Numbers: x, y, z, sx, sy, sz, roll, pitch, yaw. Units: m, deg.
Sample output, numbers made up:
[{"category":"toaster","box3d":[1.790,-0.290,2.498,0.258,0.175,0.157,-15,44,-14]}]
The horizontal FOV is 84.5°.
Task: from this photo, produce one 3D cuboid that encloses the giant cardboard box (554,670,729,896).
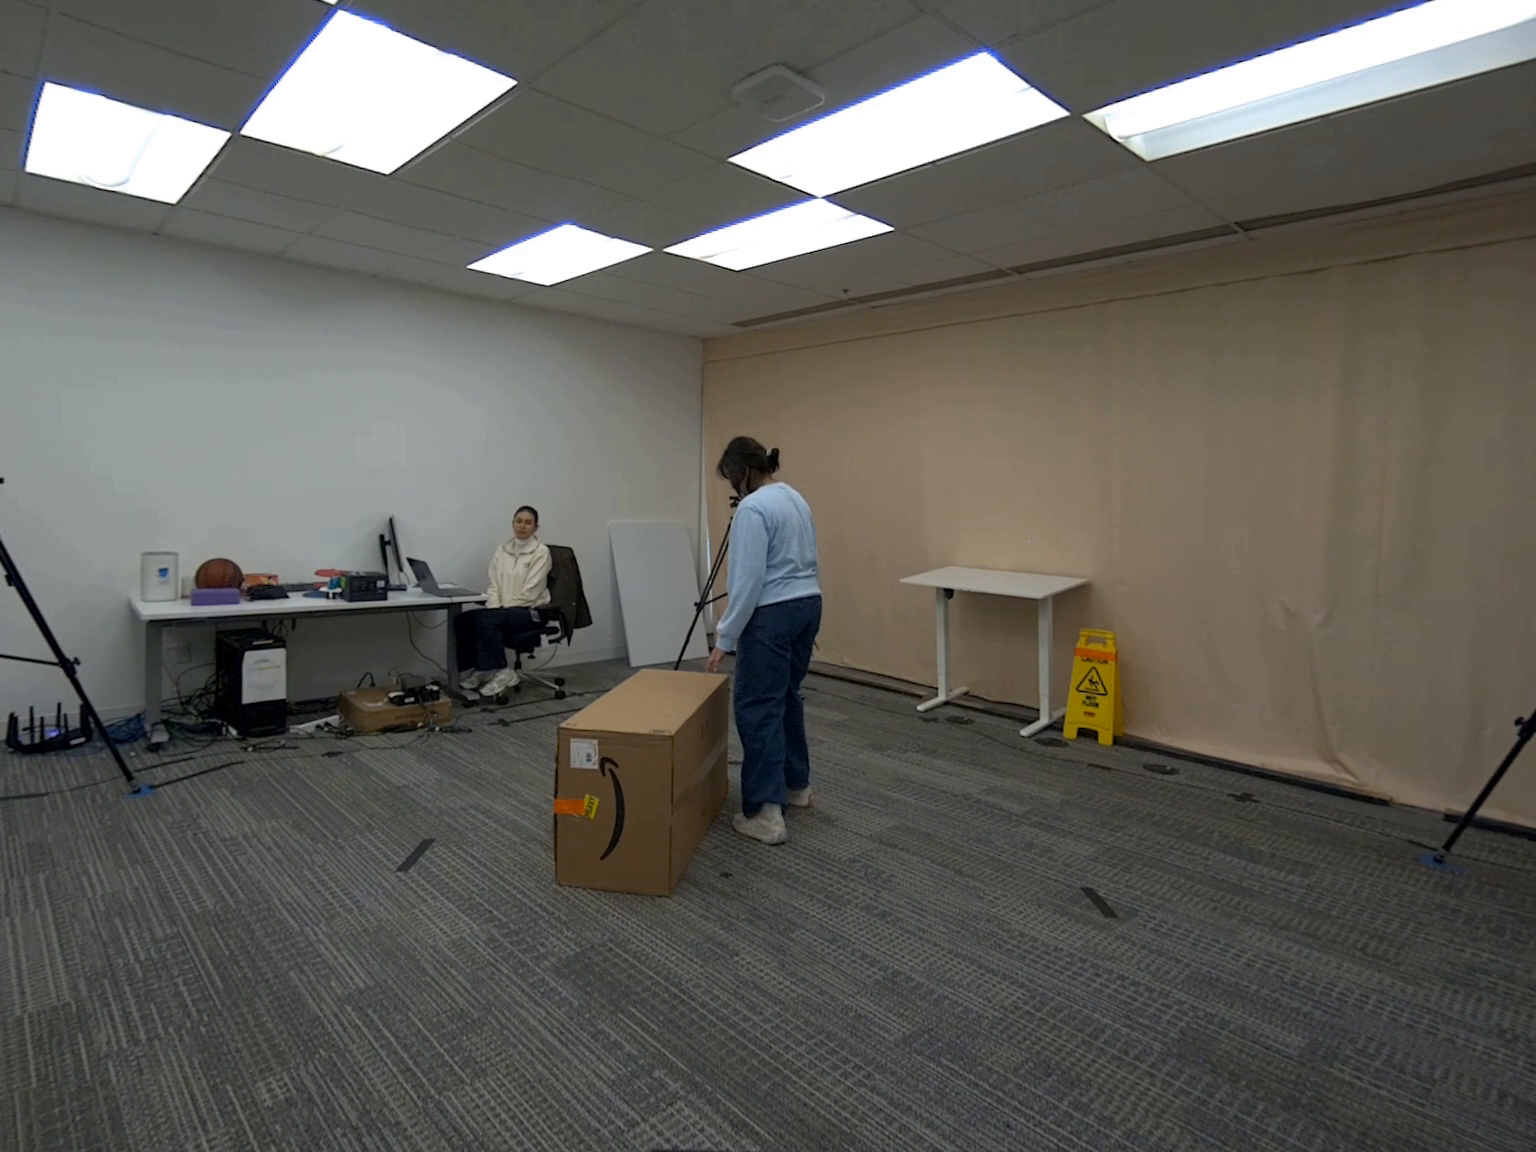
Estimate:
[{"category":"giant cardboard box","box3d":[-0.477,0.776,3.439,0.429,0.576,1.020,2,5,9]}]
